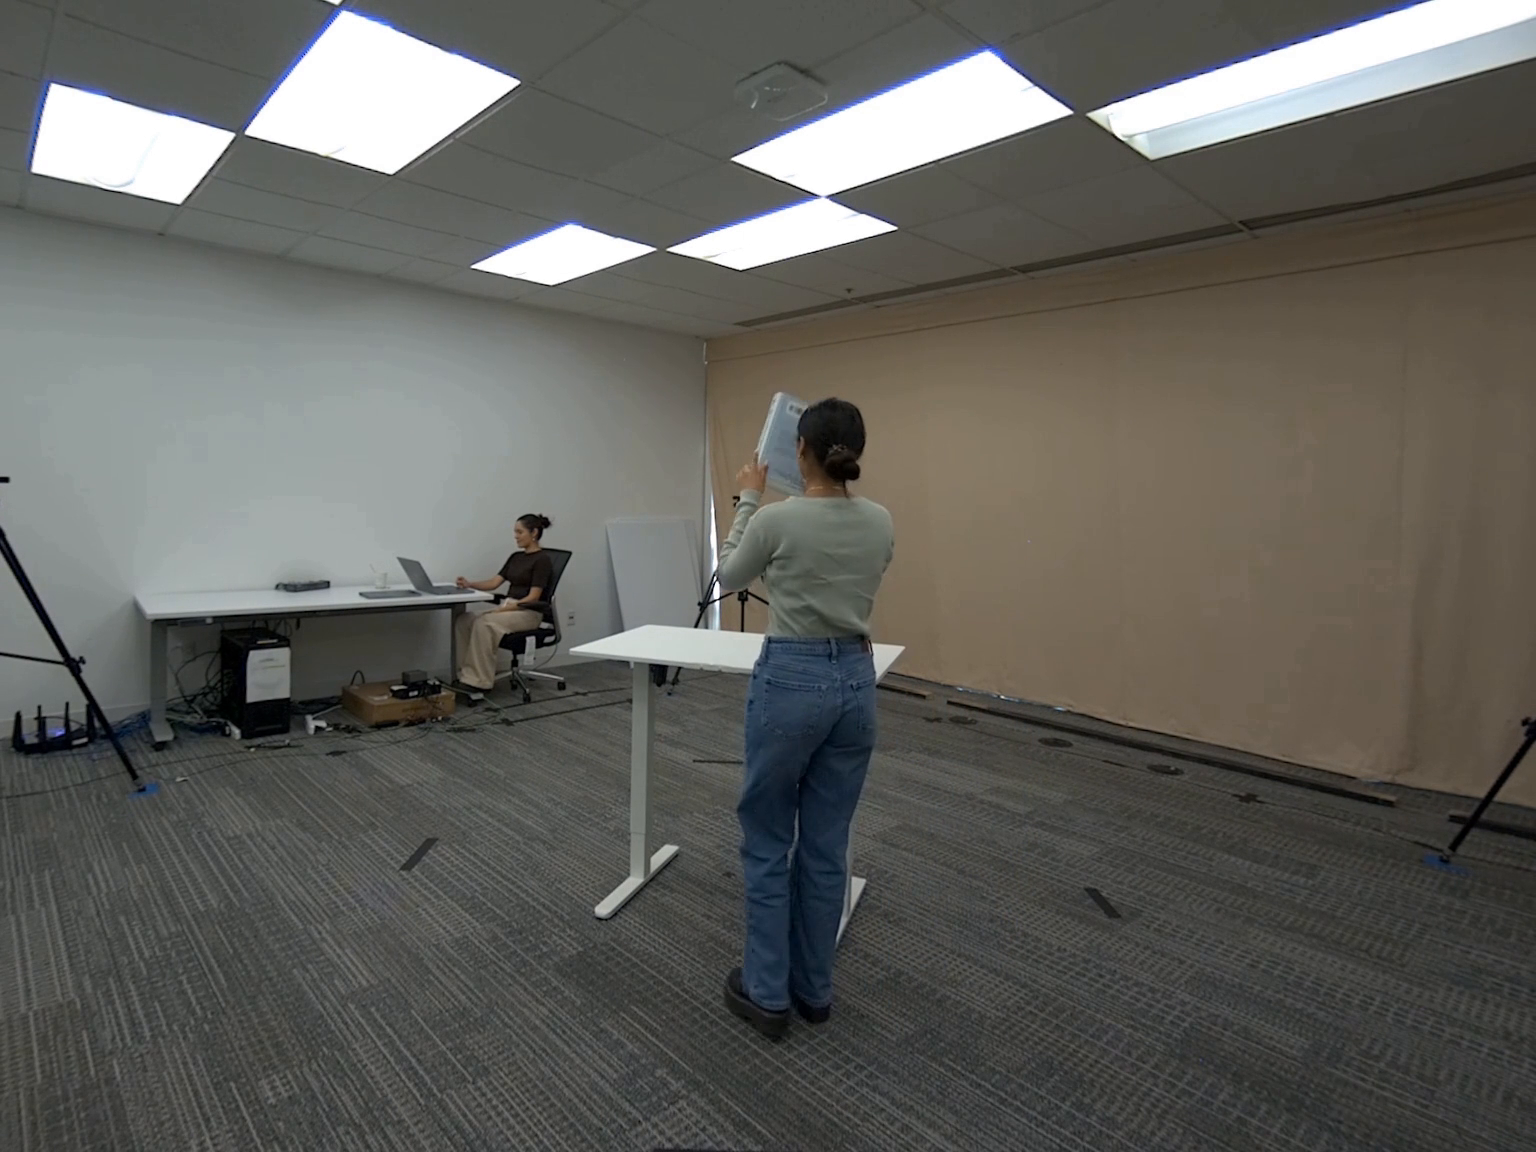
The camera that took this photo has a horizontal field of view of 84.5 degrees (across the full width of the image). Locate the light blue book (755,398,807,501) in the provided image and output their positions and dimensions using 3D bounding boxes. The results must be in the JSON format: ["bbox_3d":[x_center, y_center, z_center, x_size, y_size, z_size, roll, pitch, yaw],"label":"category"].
[{"bbox_3d":[0.074,-0.352,2.443,0.188,0.262,0.060,20,-6,-16],"label":"light blue book"}]
